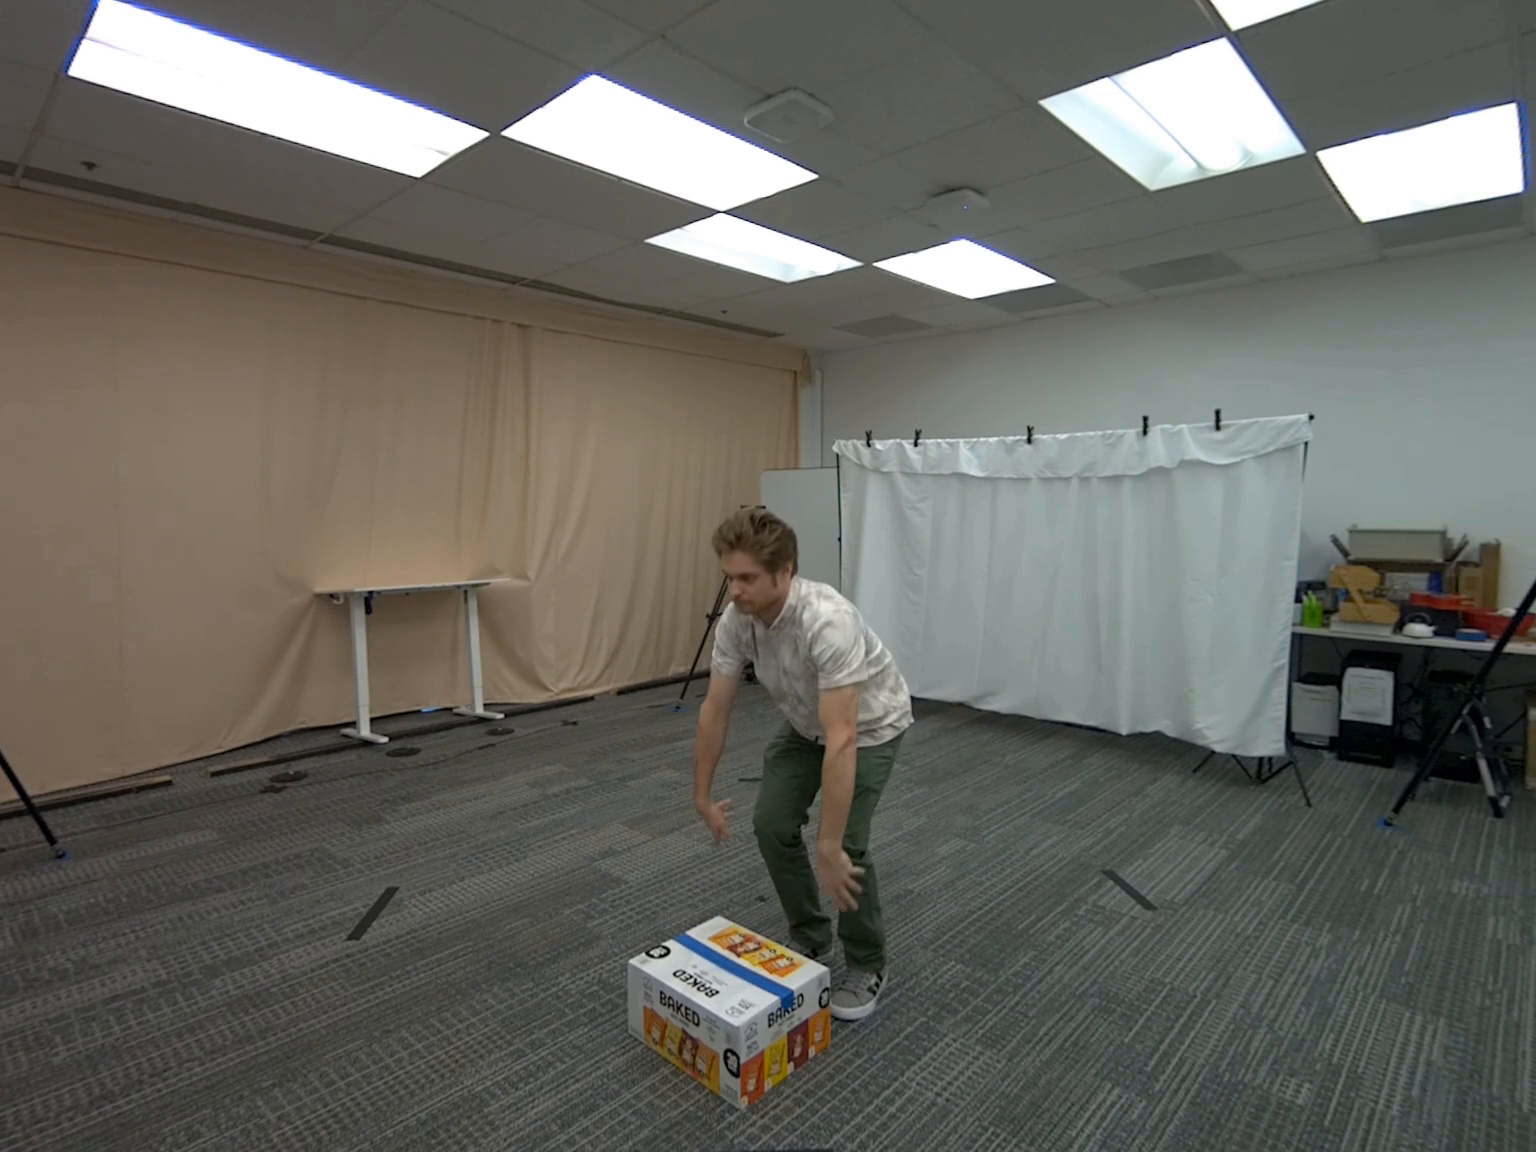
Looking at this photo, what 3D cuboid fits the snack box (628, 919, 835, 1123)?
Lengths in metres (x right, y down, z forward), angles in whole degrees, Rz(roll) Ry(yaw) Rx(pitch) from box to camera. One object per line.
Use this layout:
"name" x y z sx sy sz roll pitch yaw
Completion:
"snack box" -0.099 1.111 2.176 0.419 0.205 0.330 5 6 43
